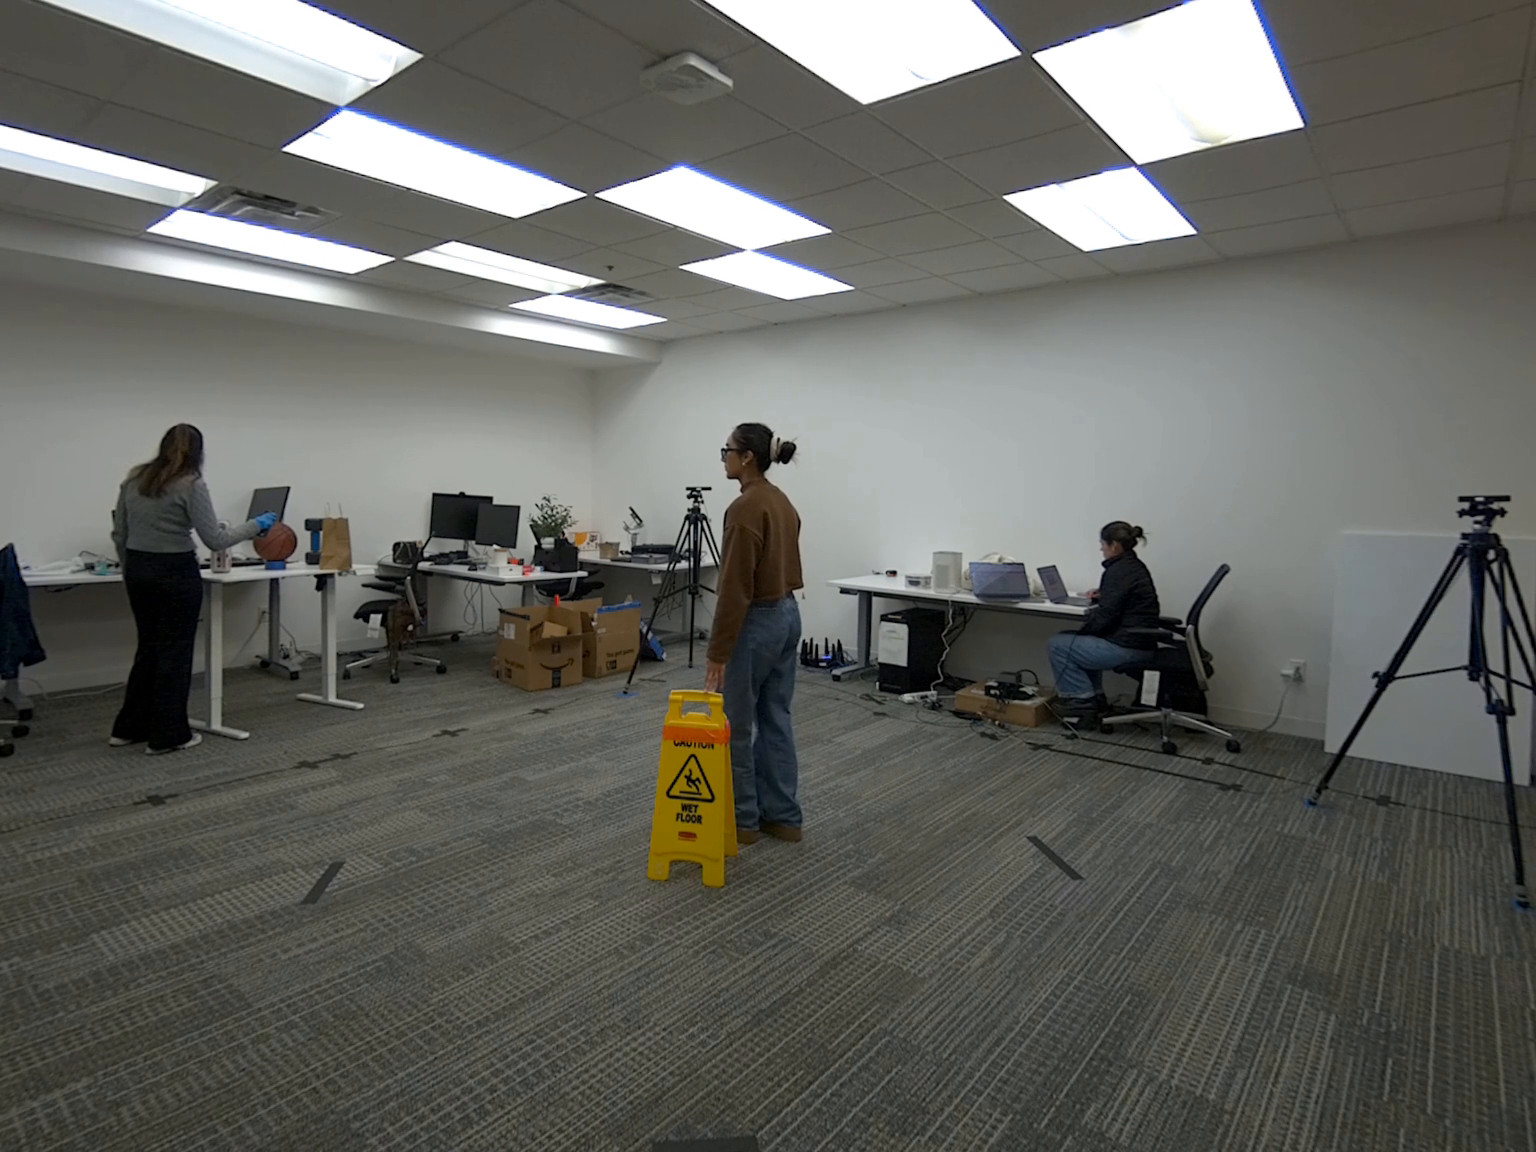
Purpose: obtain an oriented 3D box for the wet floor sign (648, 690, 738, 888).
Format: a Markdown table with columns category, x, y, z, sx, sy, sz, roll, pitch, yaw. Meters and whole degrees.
| category | x | y | z | sx | sy | sz | roll | pitch | yaw |
| --- | --- | --- | --- | --- | --- | --- | --- | --- | --- |
| wet floor sign | -0.281 | 0.743 | 3.099 | 0.286 | 0.644 | 0.287 | 0 | 4 | 11 |
